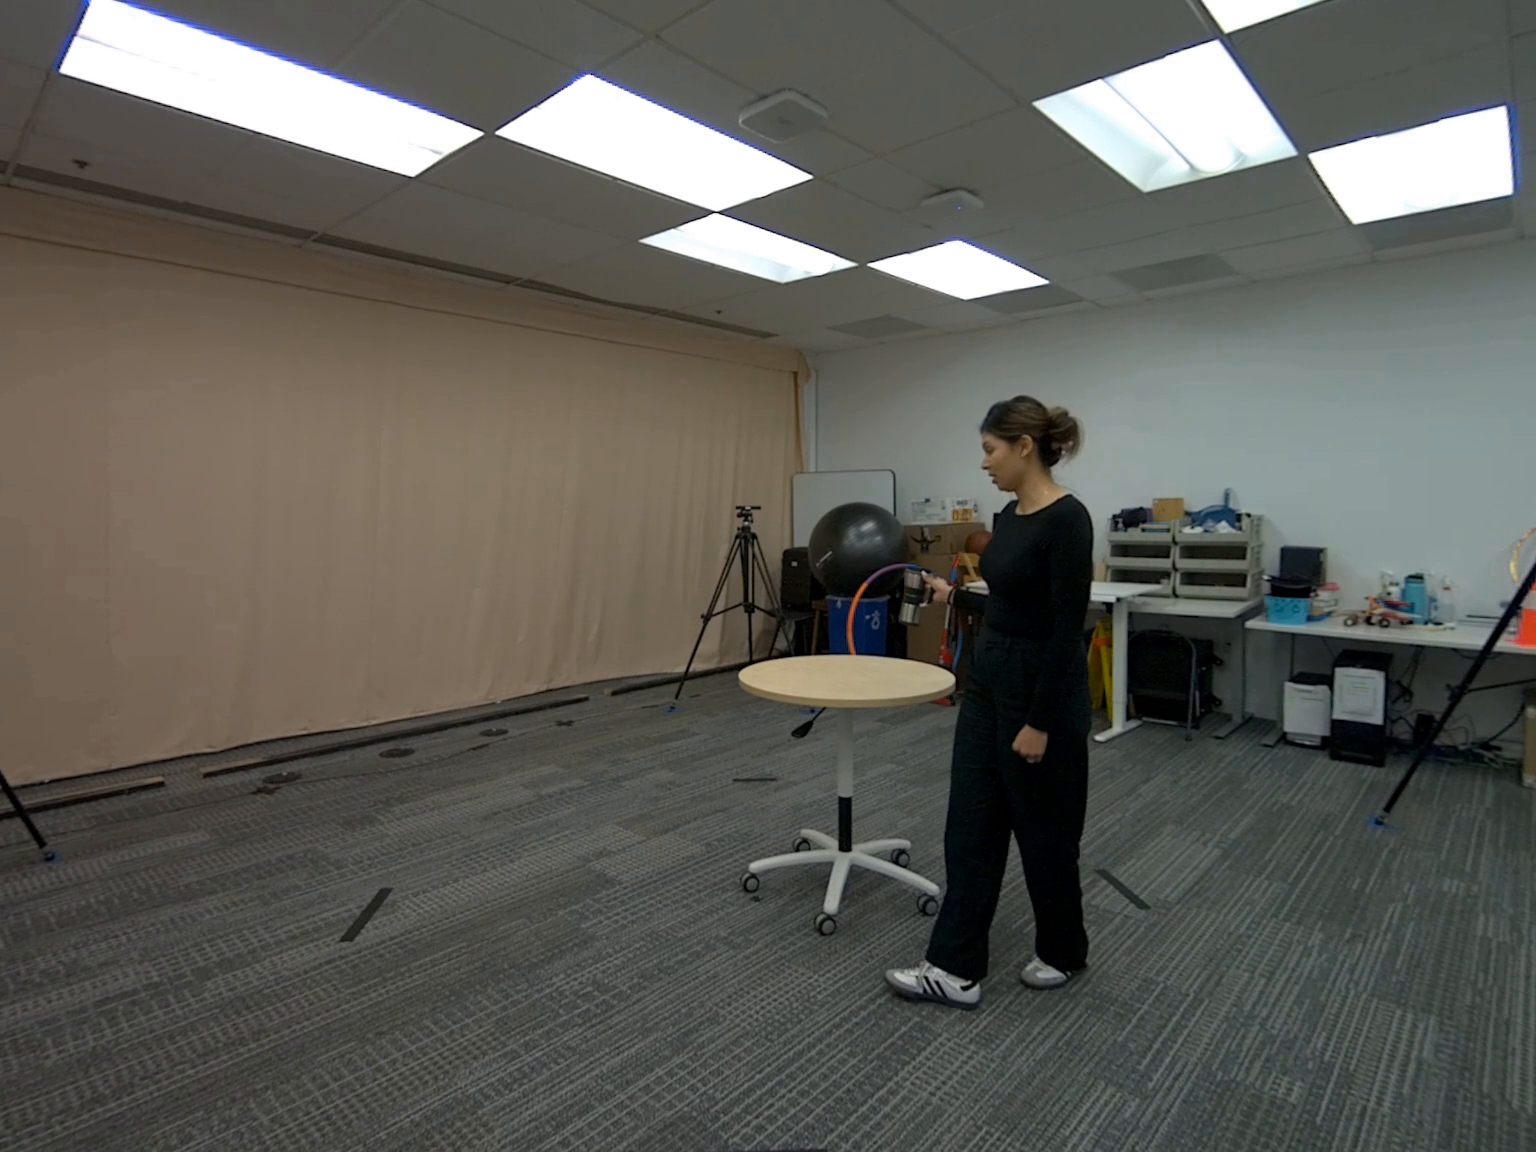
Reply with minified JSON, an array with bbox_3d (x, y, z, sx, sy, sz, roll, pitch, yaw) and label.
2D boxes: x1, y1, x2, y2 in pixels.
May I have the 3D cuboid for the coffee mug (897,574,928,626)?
[{"bbox_3d":[0.517,0.074,2.884,0.086,0.203,0.125,8,3,-21],"label":"coffee mug"}]
